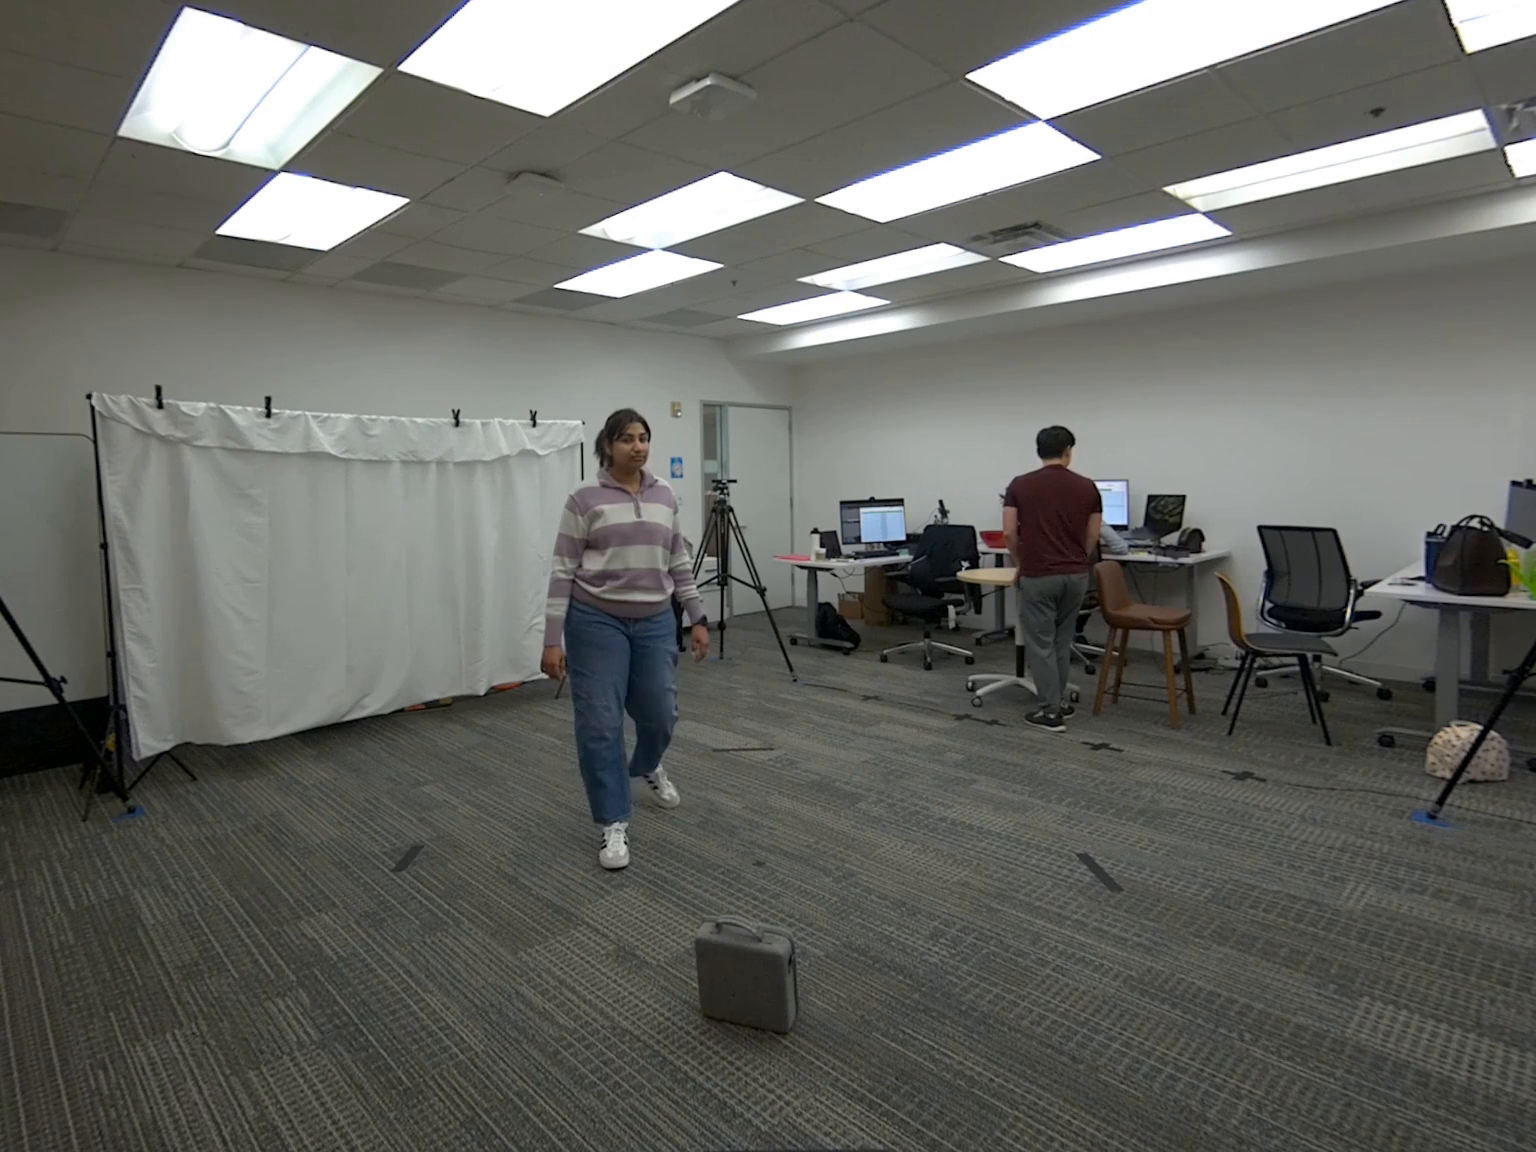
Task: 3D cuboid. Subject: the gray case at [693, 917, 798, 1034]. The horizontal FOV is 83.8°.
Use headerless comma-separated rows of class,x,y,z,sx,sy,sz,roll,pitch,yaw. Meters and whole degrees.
gray case,-0.045,1.015,2.206,0.262,0.258,0.103,-2,10,21
